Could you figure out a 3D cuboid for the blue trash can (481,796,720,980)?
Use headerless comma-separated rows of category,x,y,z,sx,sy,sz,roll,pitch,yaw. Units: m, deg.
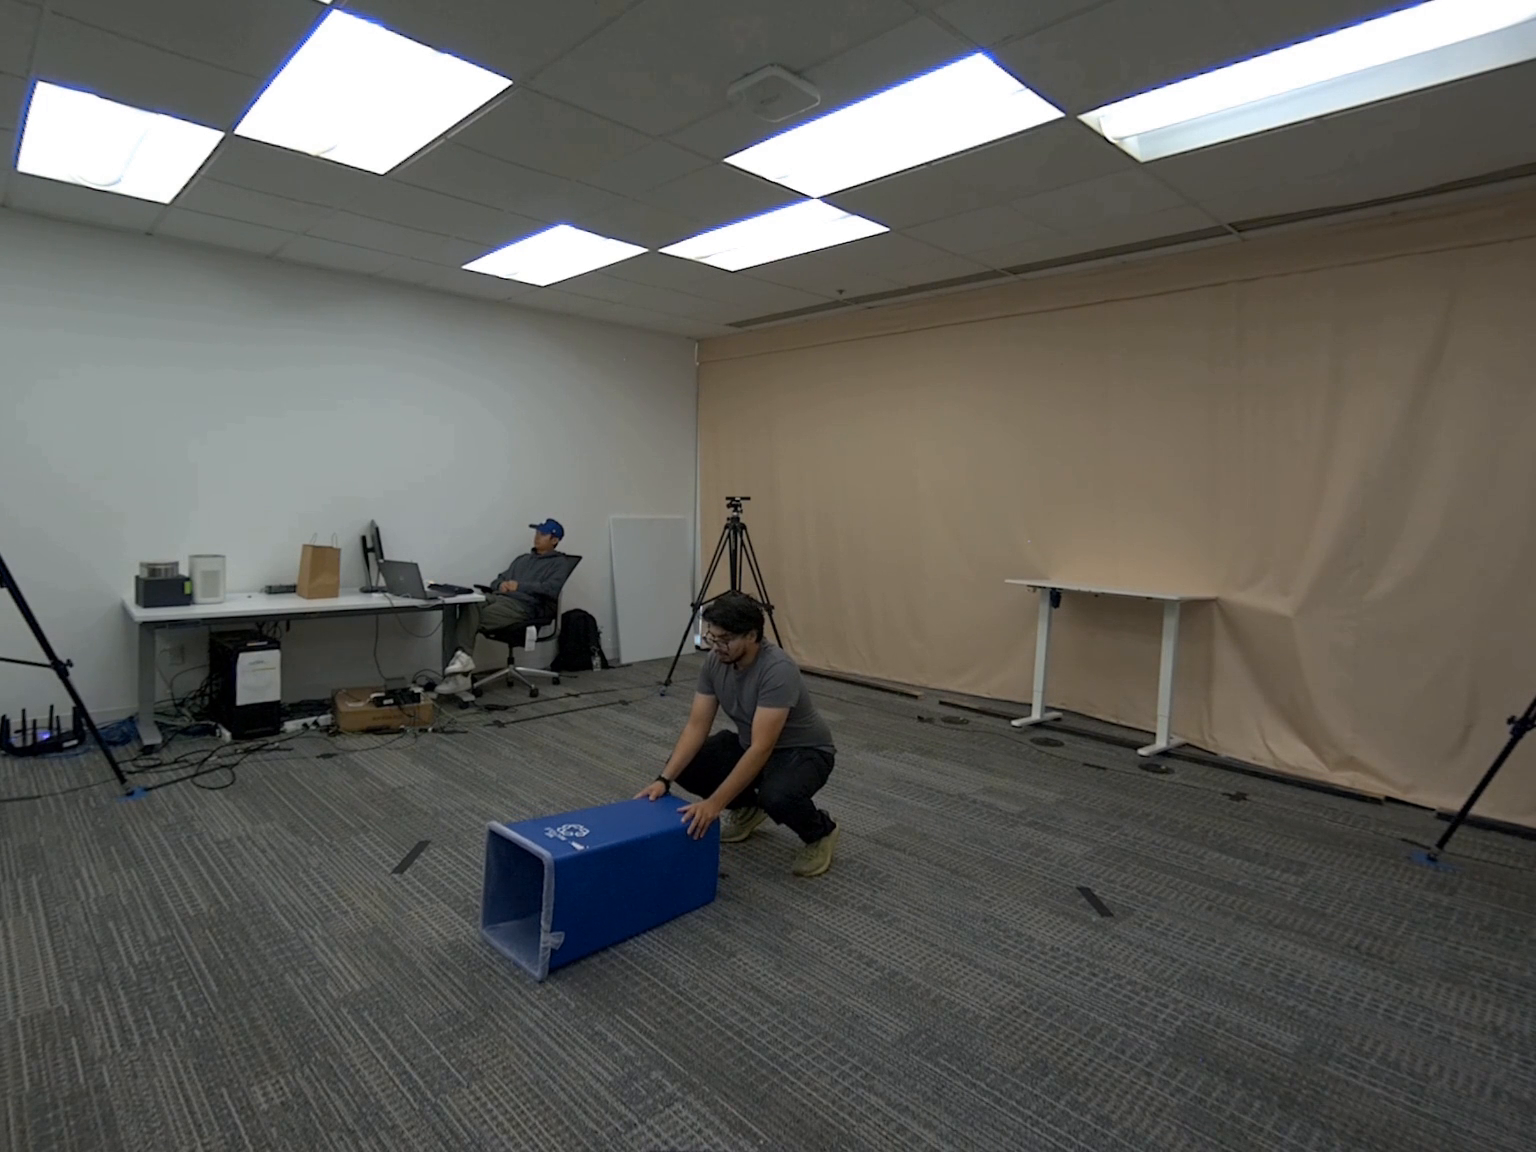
blue trash can,-0.534,0.965,2.756,0.384,0.377,0.696,5,3,43
